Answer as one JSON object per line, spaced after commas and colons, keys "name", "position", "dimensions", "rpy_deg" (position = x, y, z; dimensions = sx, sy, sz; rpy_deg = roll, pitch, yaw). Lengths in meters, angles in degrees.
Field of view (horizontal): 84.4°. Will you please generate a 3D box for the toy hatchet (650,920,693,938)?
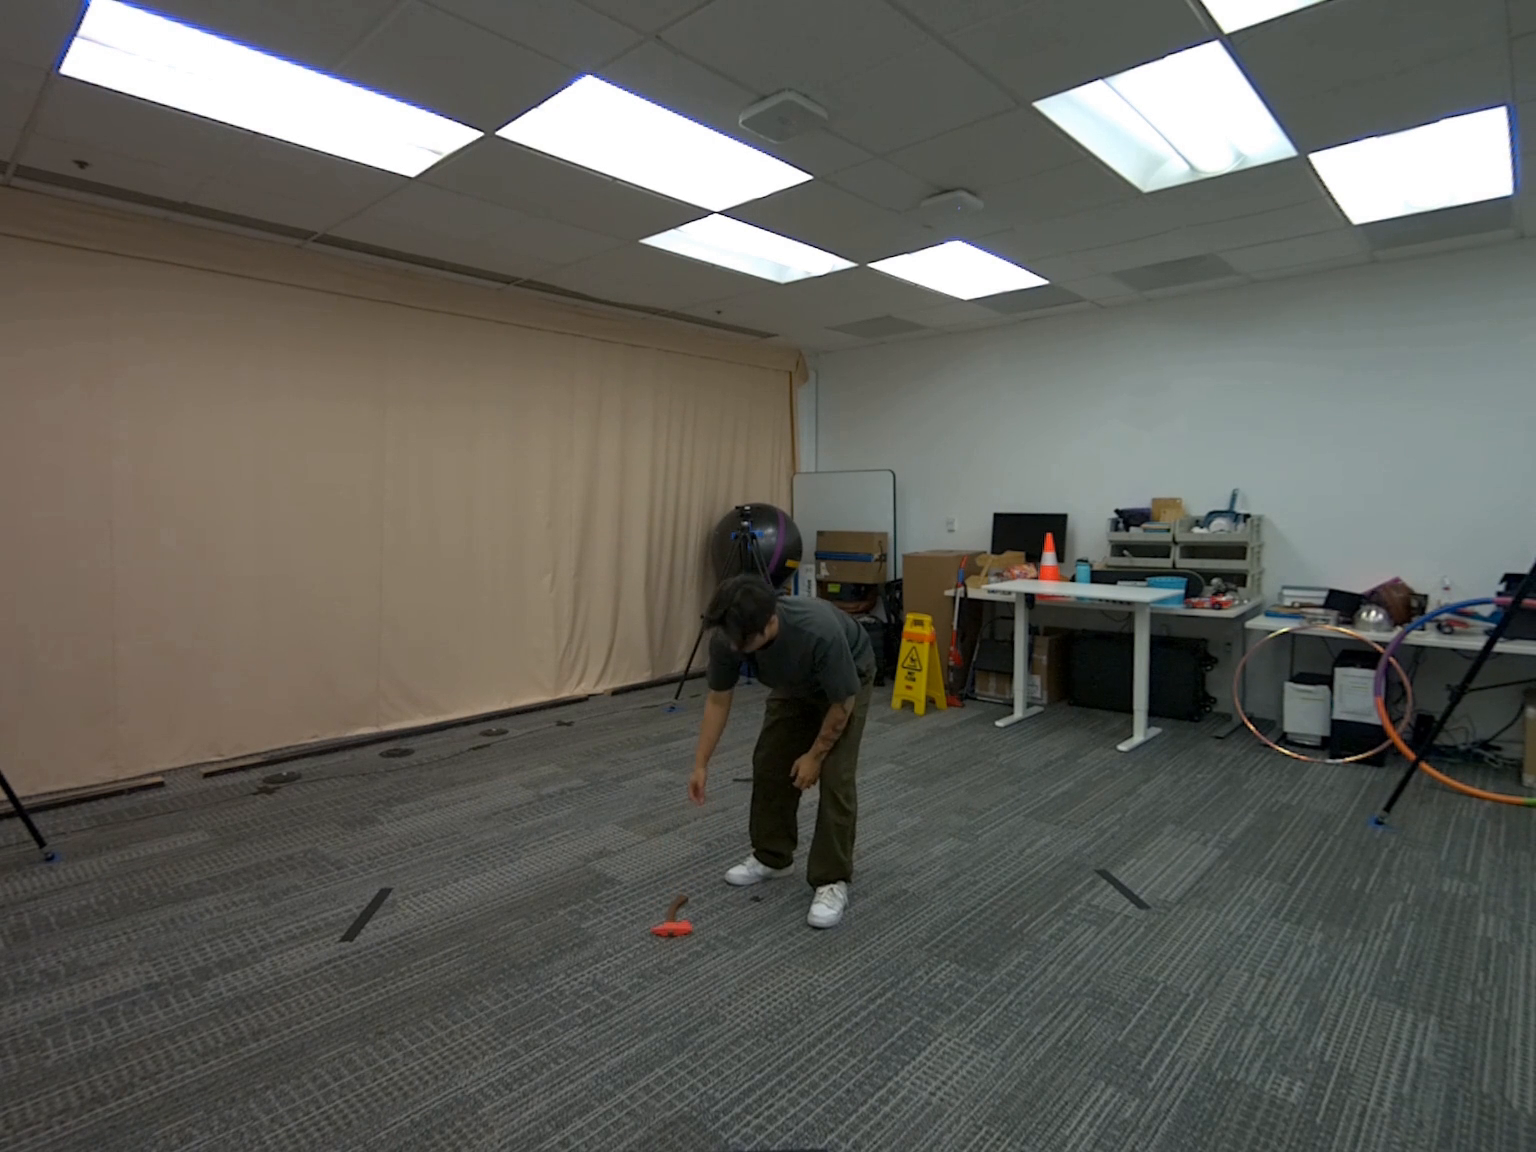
{"name": "toy hatchet", "position": [-0.288, 1.147, 2.838], "dimensions": [0.133, 0.029, 0.266], "rpy_deg": [0, 4, 15]}
